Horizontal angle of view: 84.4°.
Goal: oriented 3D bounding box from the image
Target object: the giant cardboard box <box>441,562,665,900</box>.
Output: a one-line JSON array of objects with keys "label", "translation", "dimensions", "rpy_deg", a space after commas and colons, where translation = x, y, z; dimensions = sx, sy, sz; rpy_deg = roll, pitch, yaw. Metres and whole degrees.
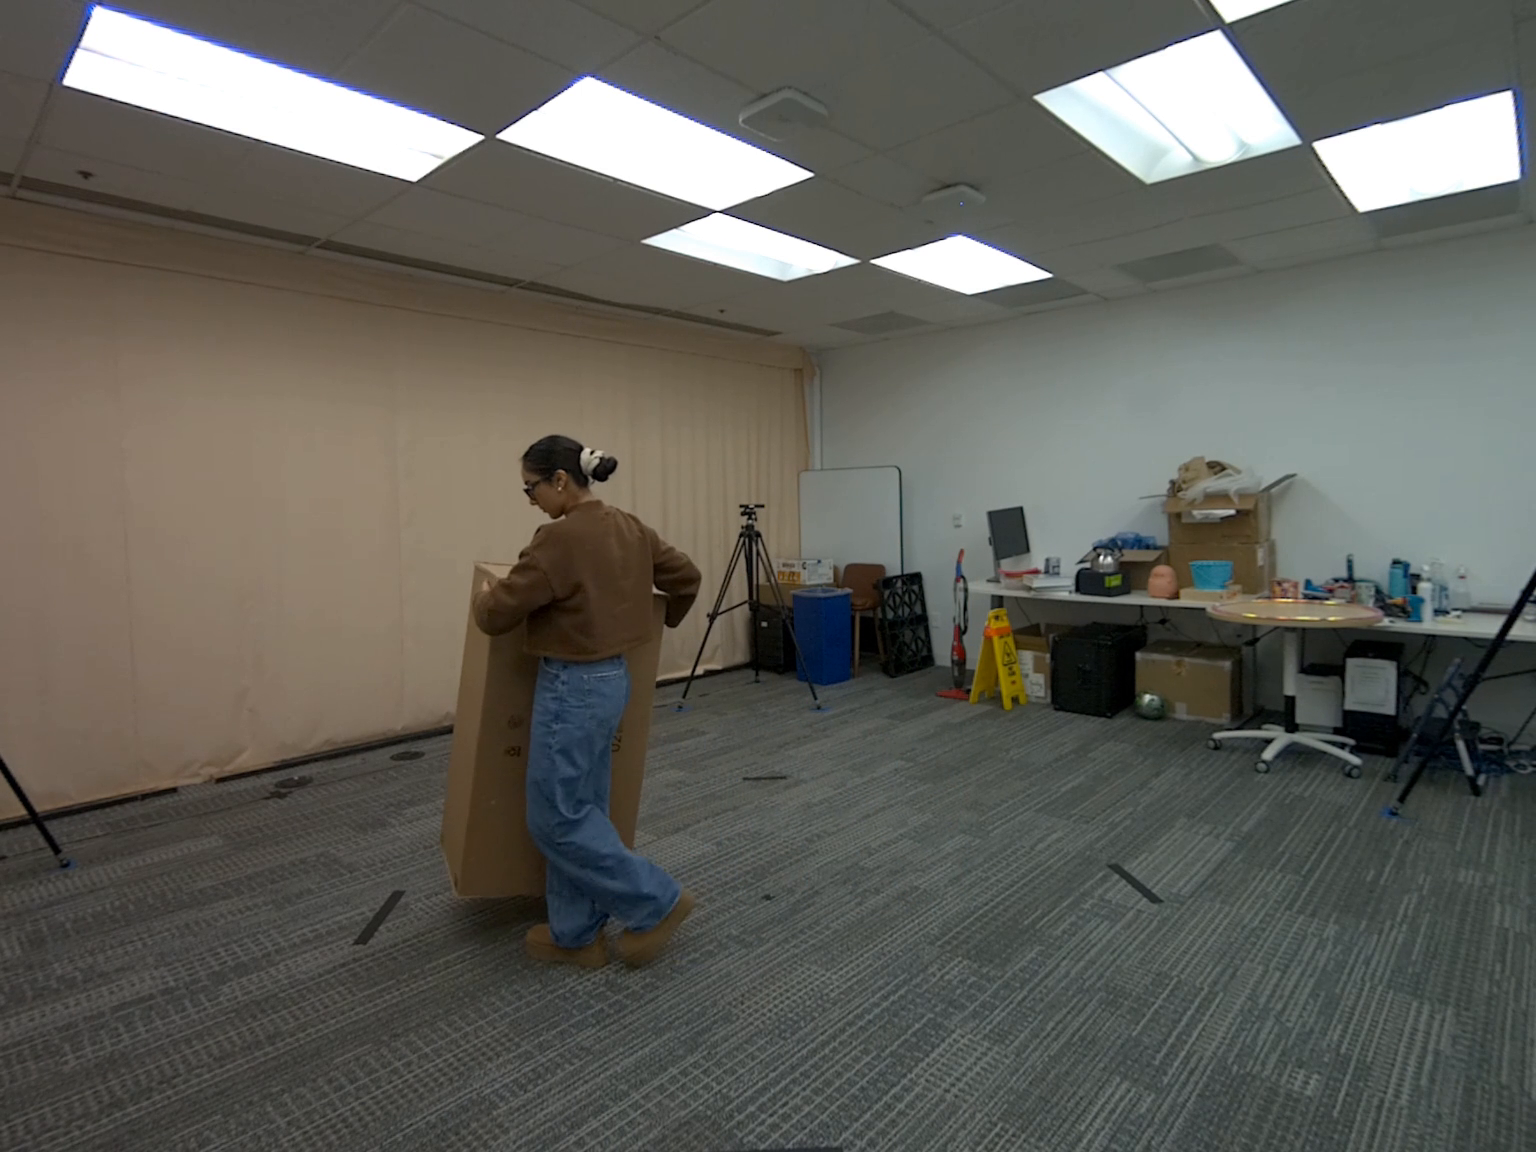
[{"label": "giant cardboard box", "translation": [-0.754, 0.517, 2.918], "dimensions": [0.561, 1.024, 0.439], "rpy_deg": [6, 3, -29]}]
